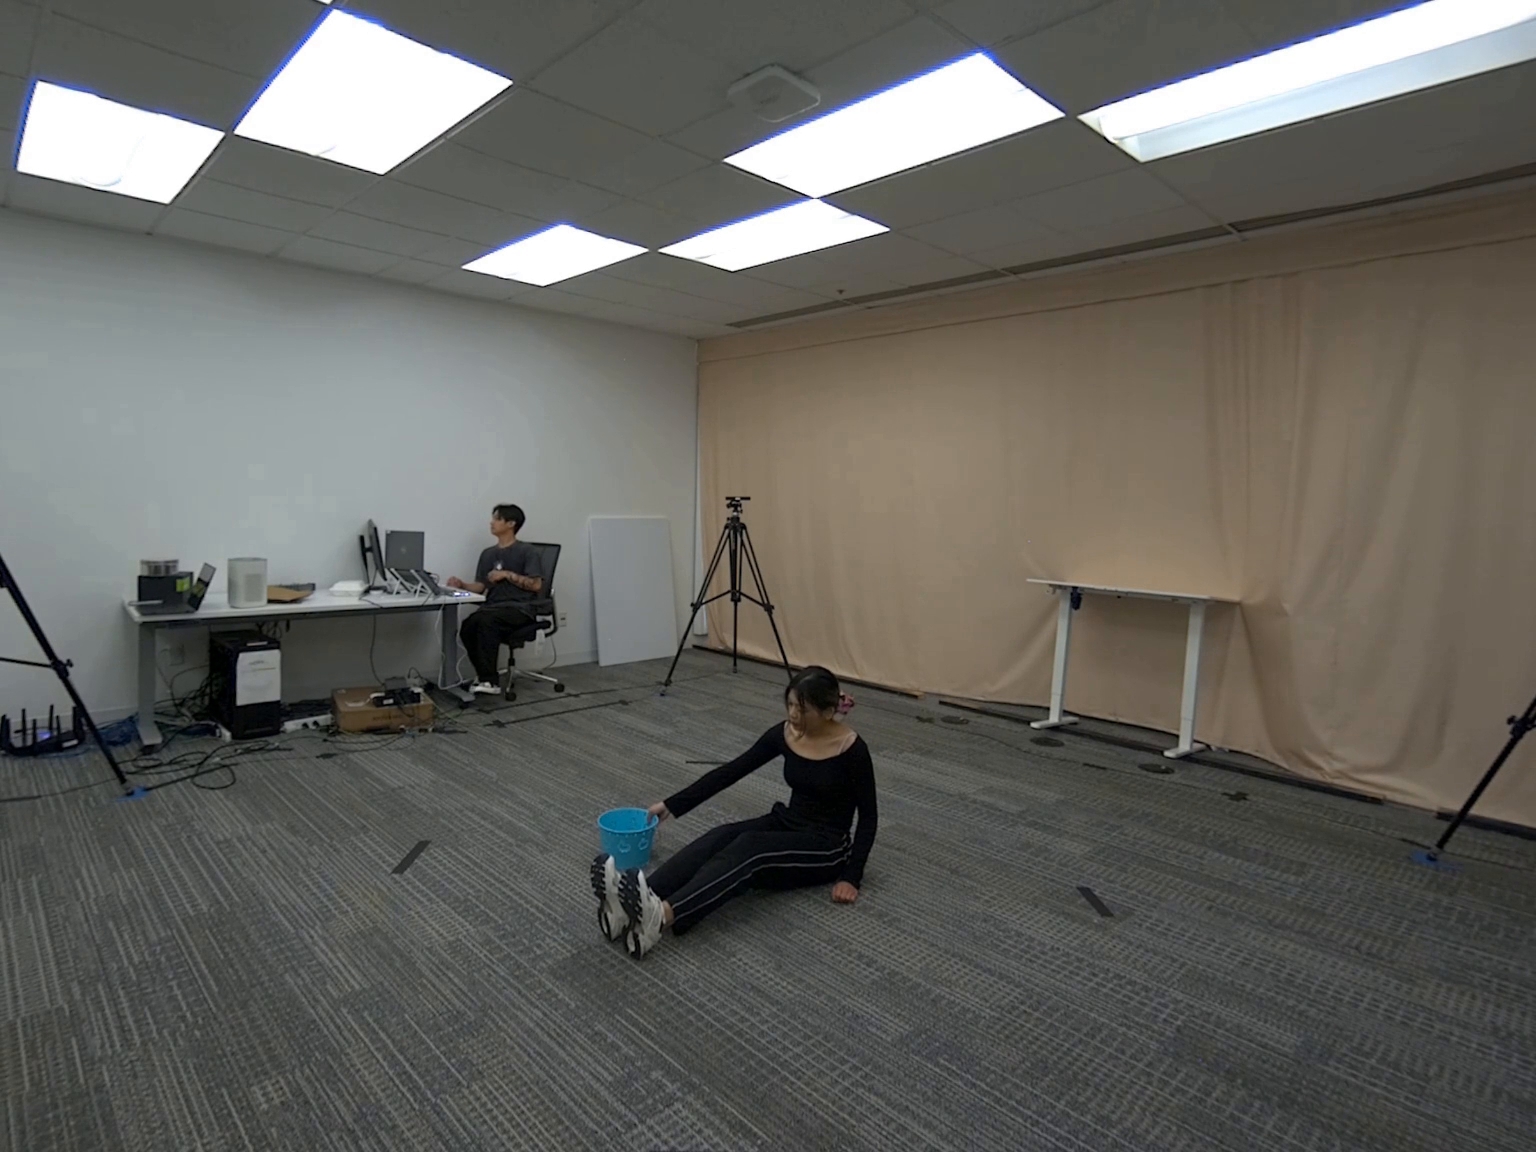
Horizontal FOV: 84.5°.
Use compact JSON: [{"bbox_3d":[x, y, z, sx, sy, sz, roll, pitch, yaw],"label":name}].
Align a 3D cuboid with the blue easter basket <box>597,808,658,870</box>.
[{"bbox_3d":[-0.533,1.000,3.230,0.243,0.155,0.245,2,6,-2],"label":"blue easter basket"}]
